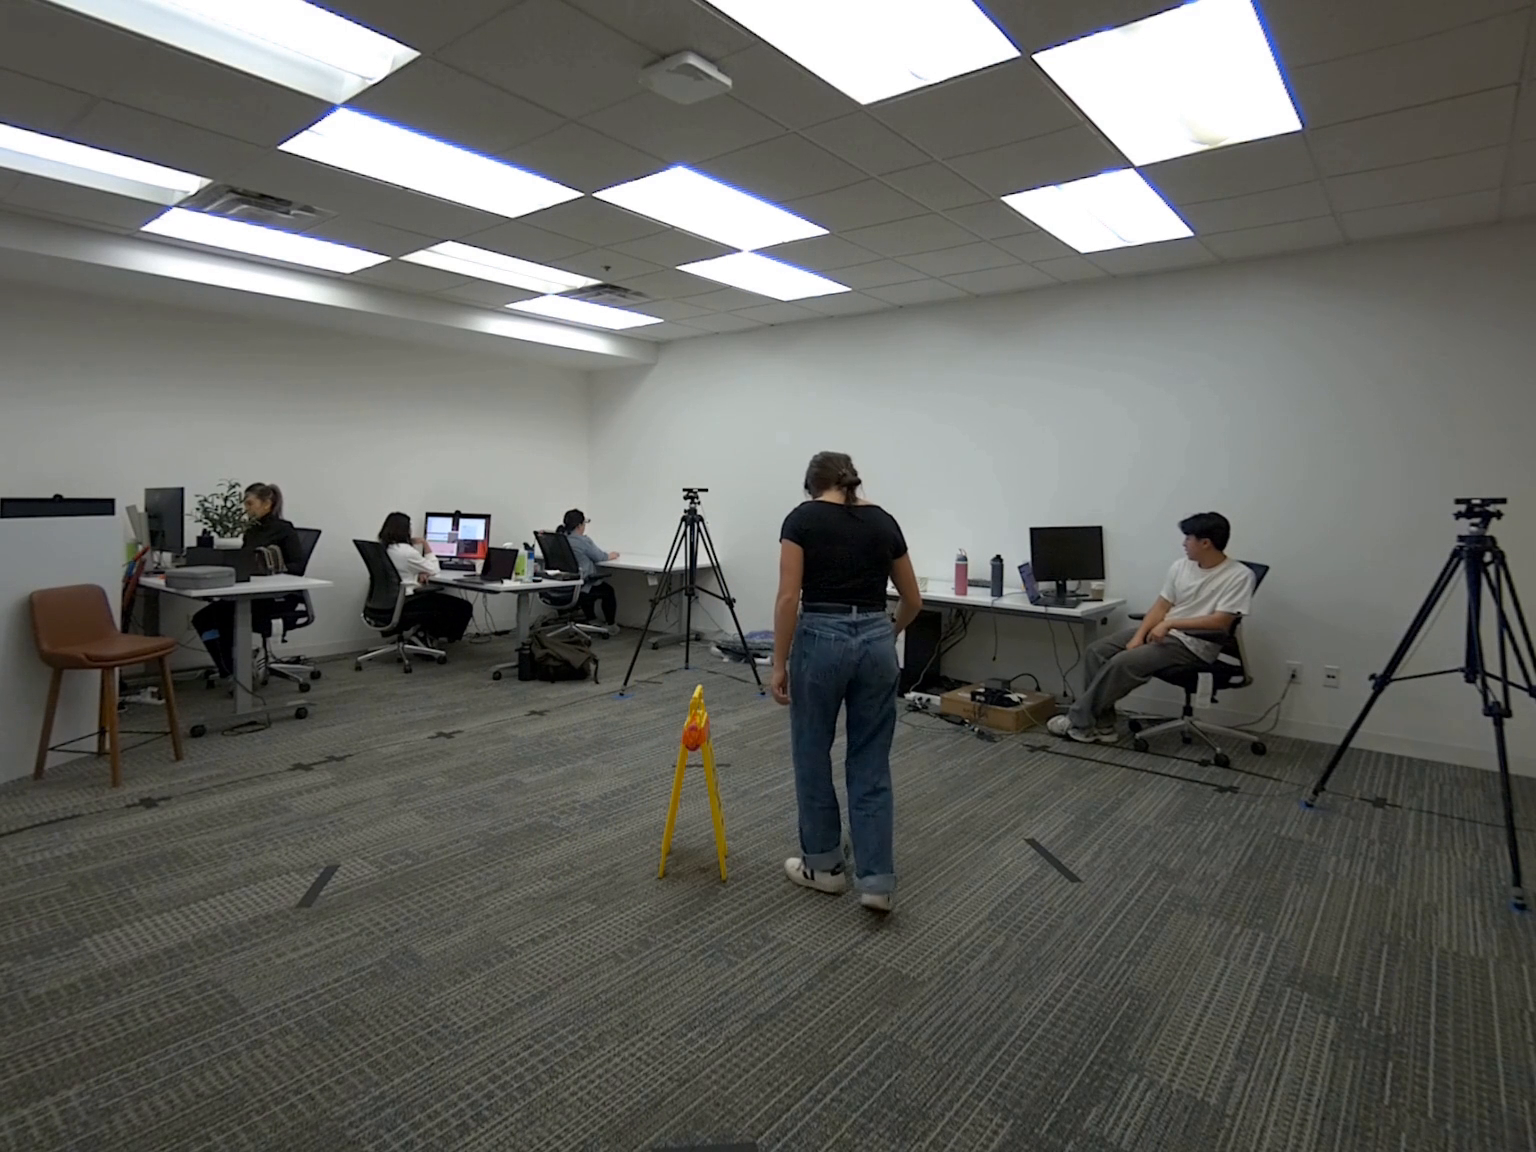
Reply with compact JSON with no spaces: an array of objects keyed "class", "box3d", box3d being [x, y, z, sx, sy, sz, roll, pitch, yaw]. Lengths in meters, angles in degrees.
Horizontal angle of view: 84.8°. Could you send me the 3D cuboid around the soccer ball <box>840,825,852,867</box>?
[{"class":"soccer ball","box3d":[0.235,0.973,3.150,0.187,0.187,0.188,1,4,-2]}]
